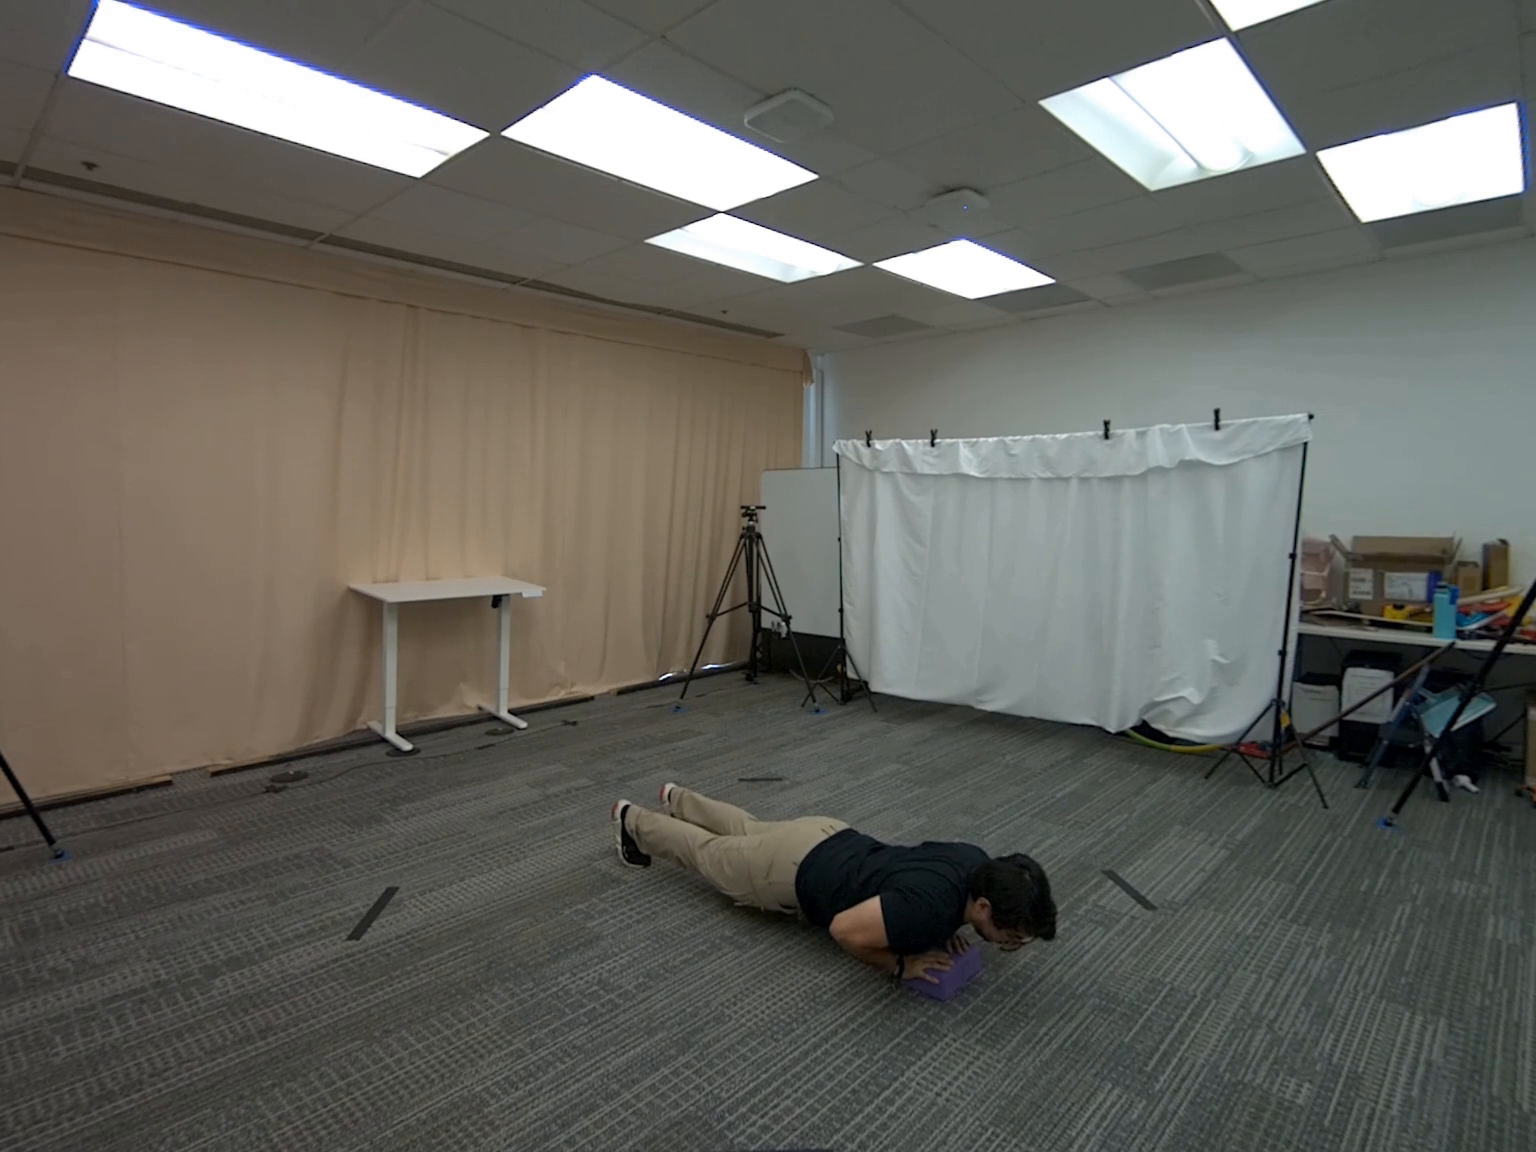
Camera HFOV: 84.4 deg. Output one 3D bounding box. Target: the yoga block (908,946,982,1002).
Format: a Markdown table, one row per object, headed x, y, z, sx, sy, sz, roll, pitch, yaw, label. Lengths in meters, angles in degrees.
| x | y | z | sx | sy | sz | roll | pitch | yaw | label |
| --- | --- | --- | --- | --- | --- | --- | --- | --- | --- |
| 0.505 | 1.144 | 2.478 | 0.154 | 0.076 | 0.222 | -1 | 4 | 42 | yoga block |
